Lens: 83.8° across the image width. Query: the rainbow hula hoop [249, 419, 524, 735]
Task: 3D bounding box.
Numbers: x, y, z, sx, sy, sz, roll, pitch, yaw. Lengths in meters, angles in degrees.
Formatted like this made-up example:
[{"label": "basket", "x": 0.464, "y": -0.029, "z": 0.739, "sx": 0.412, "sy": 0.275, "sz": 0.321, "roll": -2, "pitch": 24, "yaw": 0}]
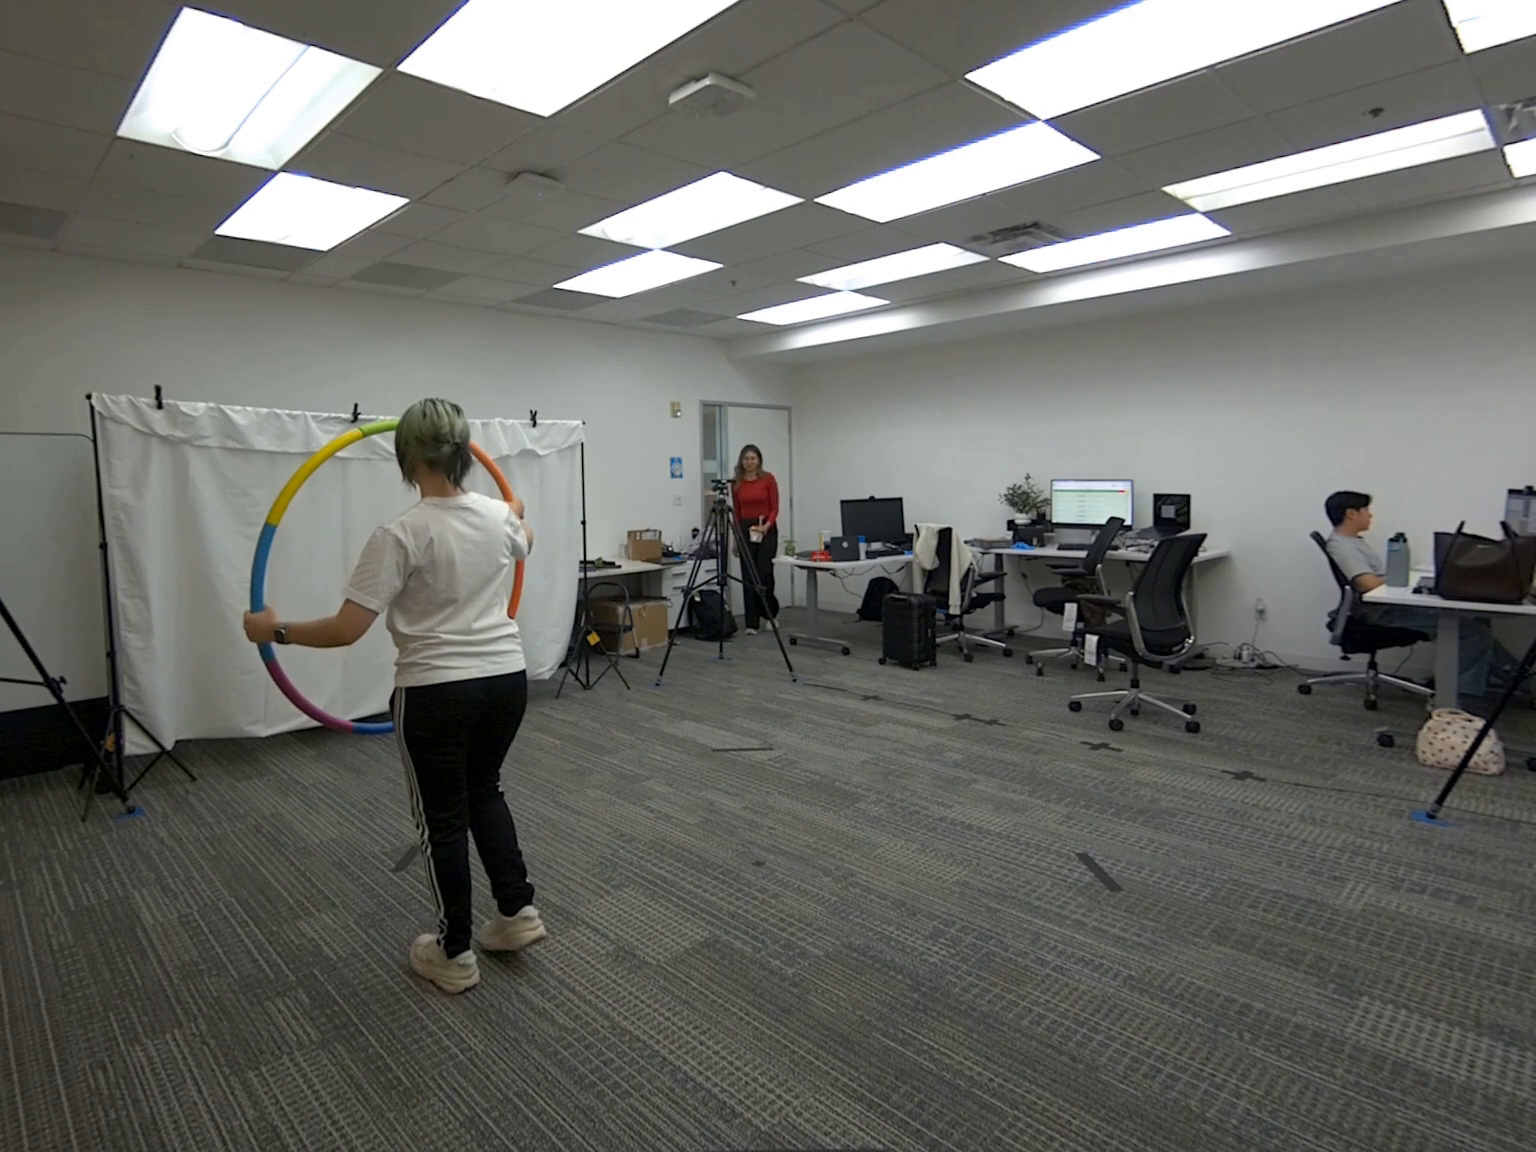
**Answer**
[{"label": "rainbow hula hoop", "x": -1.117, "y": 0.006, "z": 2.673, "sx": 0.036, "sy": 0.973, "sz": 0.957, "roll": 8, "pitch": 9, "yaw": 30}]
